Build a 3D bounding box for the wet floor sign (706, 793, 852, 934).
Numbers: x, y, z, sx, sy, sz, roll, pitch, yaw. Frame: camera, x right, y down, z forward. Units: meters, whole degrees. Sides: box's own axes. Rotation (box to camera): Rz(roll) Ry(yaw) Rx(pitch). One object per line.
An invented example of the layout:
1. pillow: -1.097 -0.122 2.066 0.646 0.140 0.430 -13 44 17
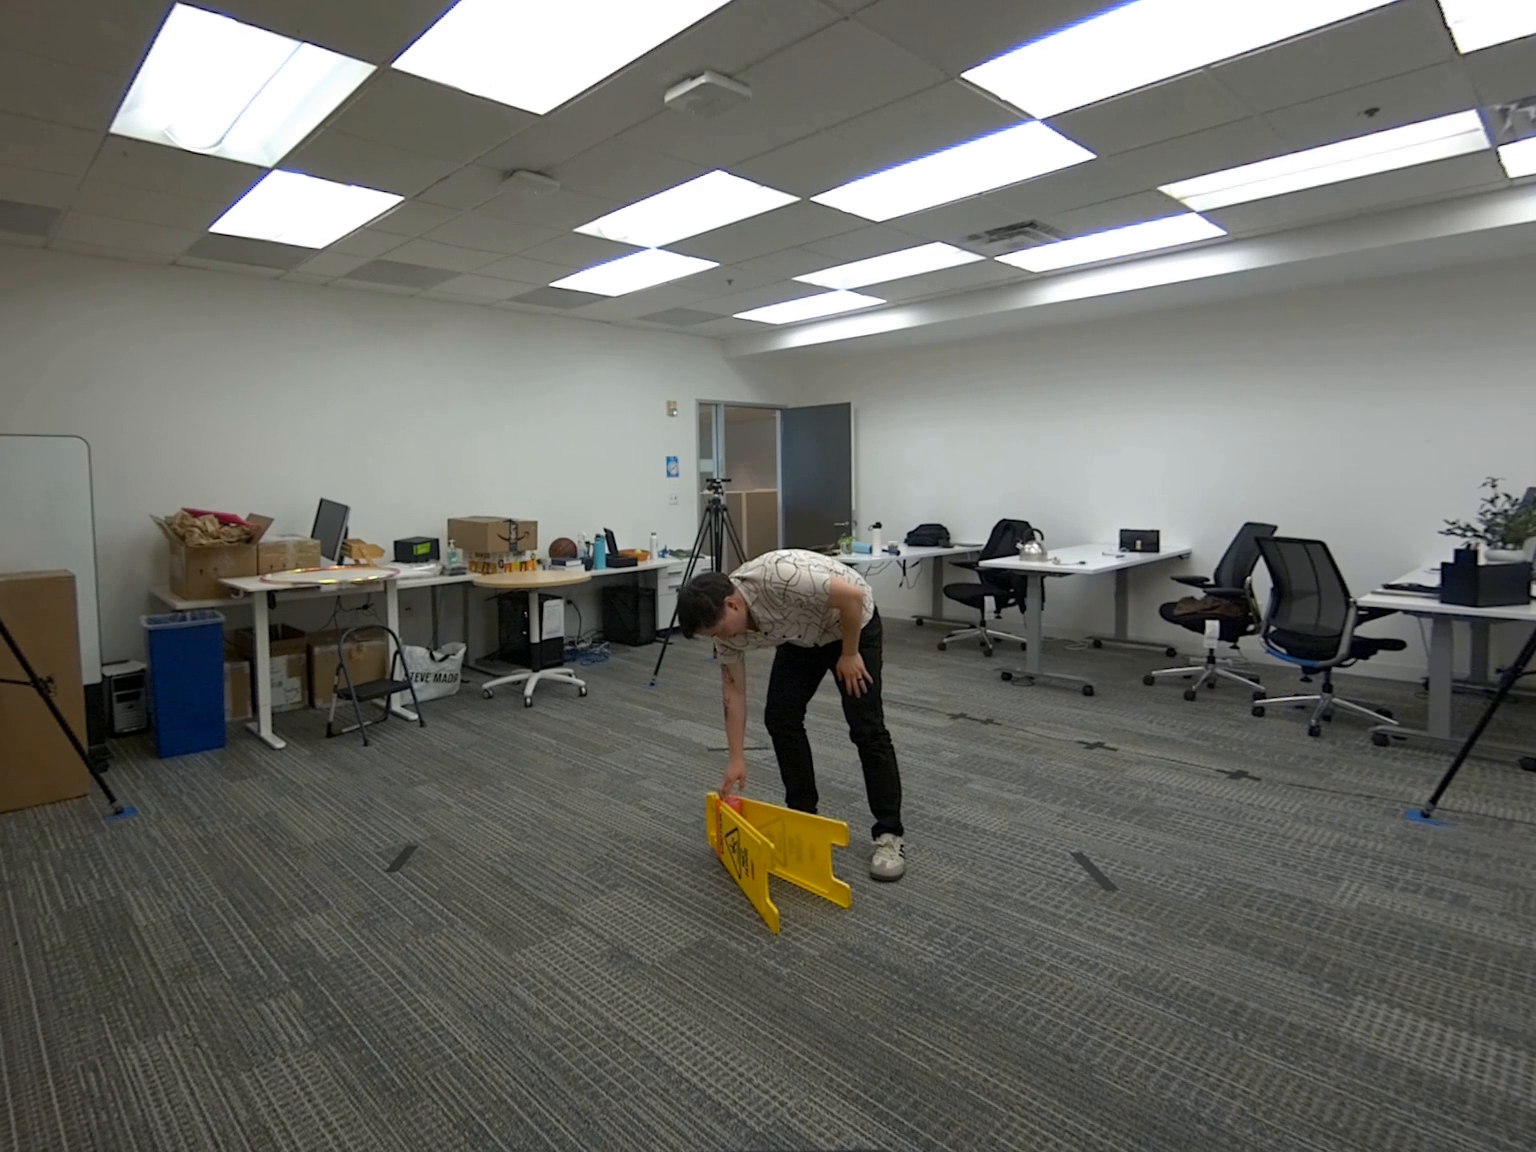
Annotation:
1. wet floor sign: -0.040 0.931 2.957 0.282 0.281 0.664 -4 5 -34
